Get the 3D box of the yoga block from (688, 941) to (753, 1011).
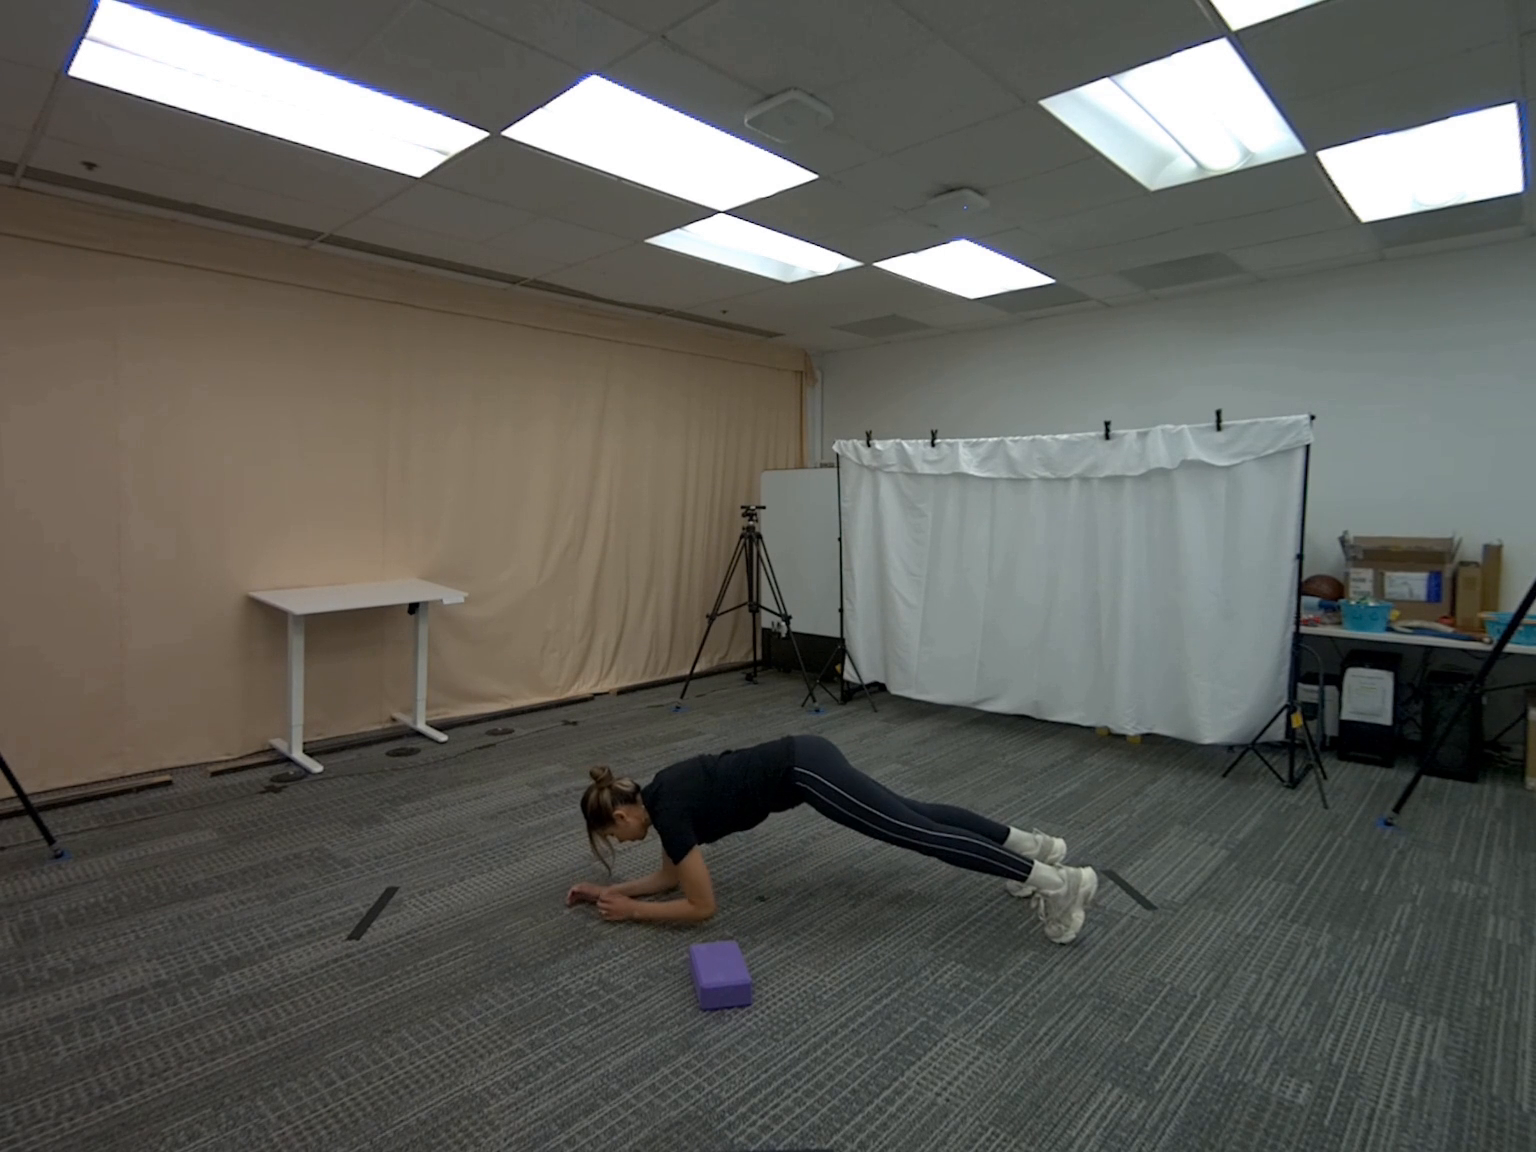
[{"bbox_3d":[-0.138,1.146,2.434,0.147,0.076,0.233,2,3,-13],"label":"yoga block"}]
